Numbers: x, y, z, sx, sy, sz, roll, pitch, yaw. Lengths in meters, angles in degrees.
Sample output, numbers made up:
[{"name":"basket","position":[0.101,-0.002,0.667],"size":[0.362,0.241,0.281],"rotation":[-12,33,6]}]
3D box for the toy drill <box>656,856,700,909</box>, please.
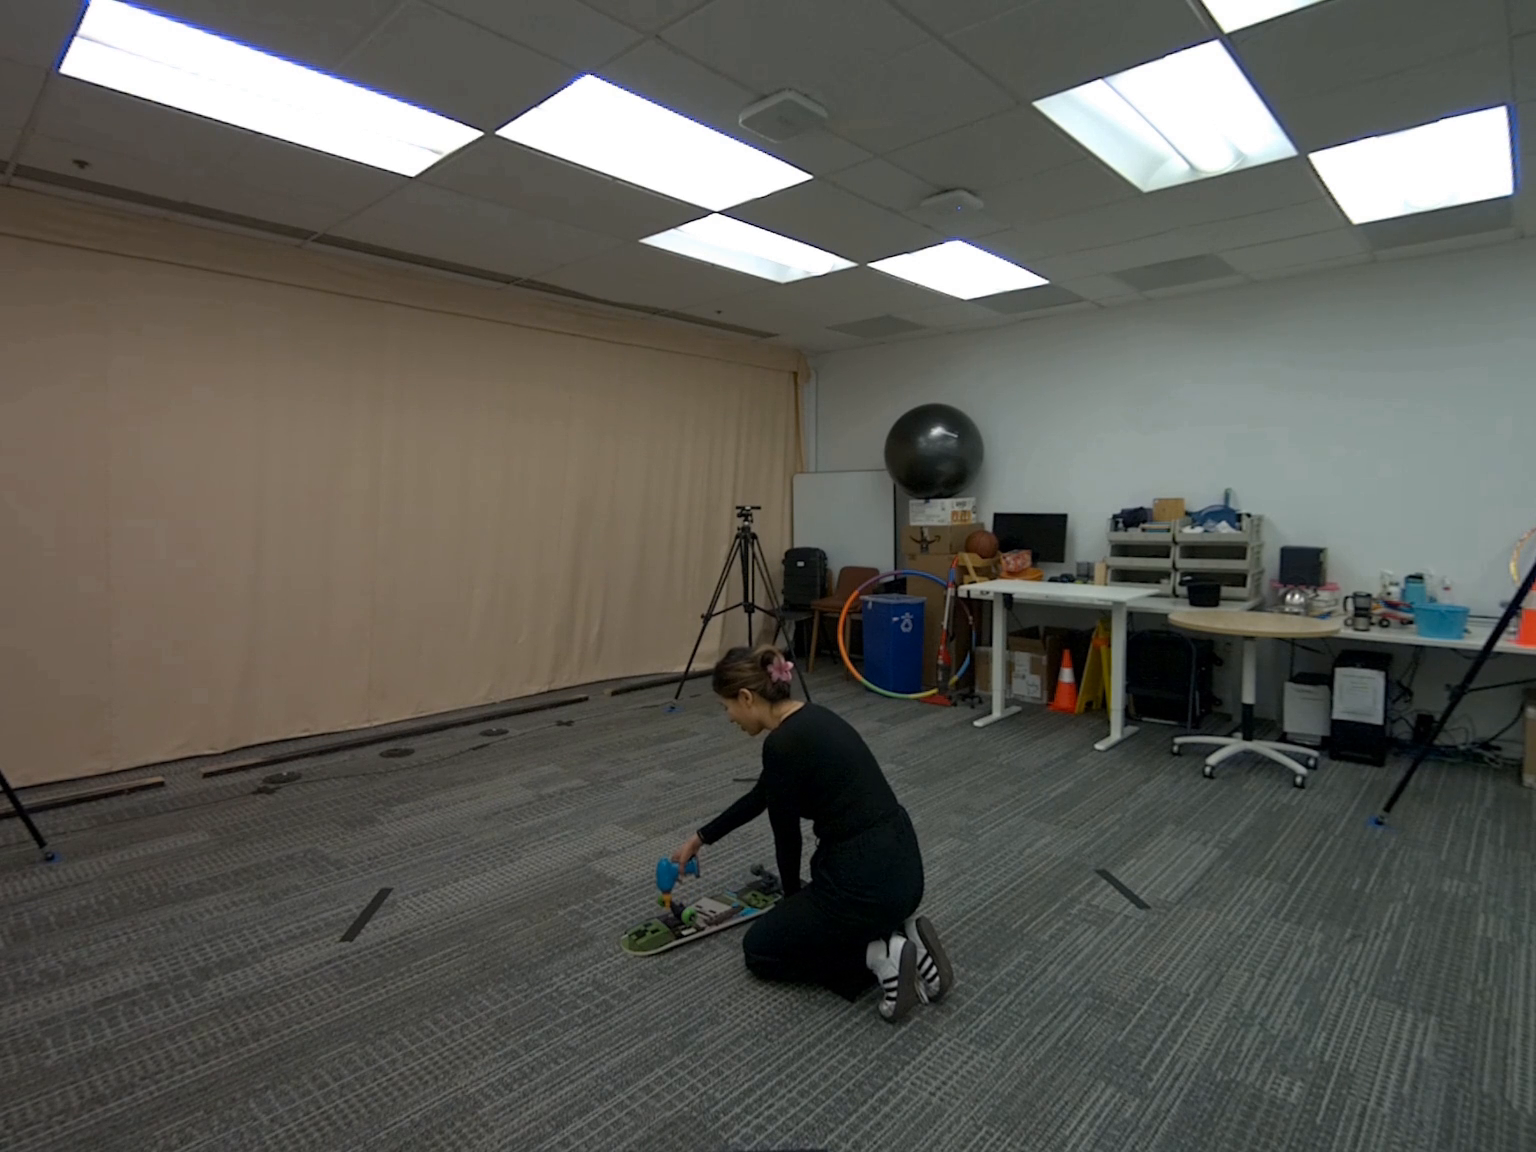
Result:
[{"name":"toy drill","position":[-0.289,1.003,2.763],"size":[0.144,0.170,0.062],"rotation":[-3,-2,-10]}]
